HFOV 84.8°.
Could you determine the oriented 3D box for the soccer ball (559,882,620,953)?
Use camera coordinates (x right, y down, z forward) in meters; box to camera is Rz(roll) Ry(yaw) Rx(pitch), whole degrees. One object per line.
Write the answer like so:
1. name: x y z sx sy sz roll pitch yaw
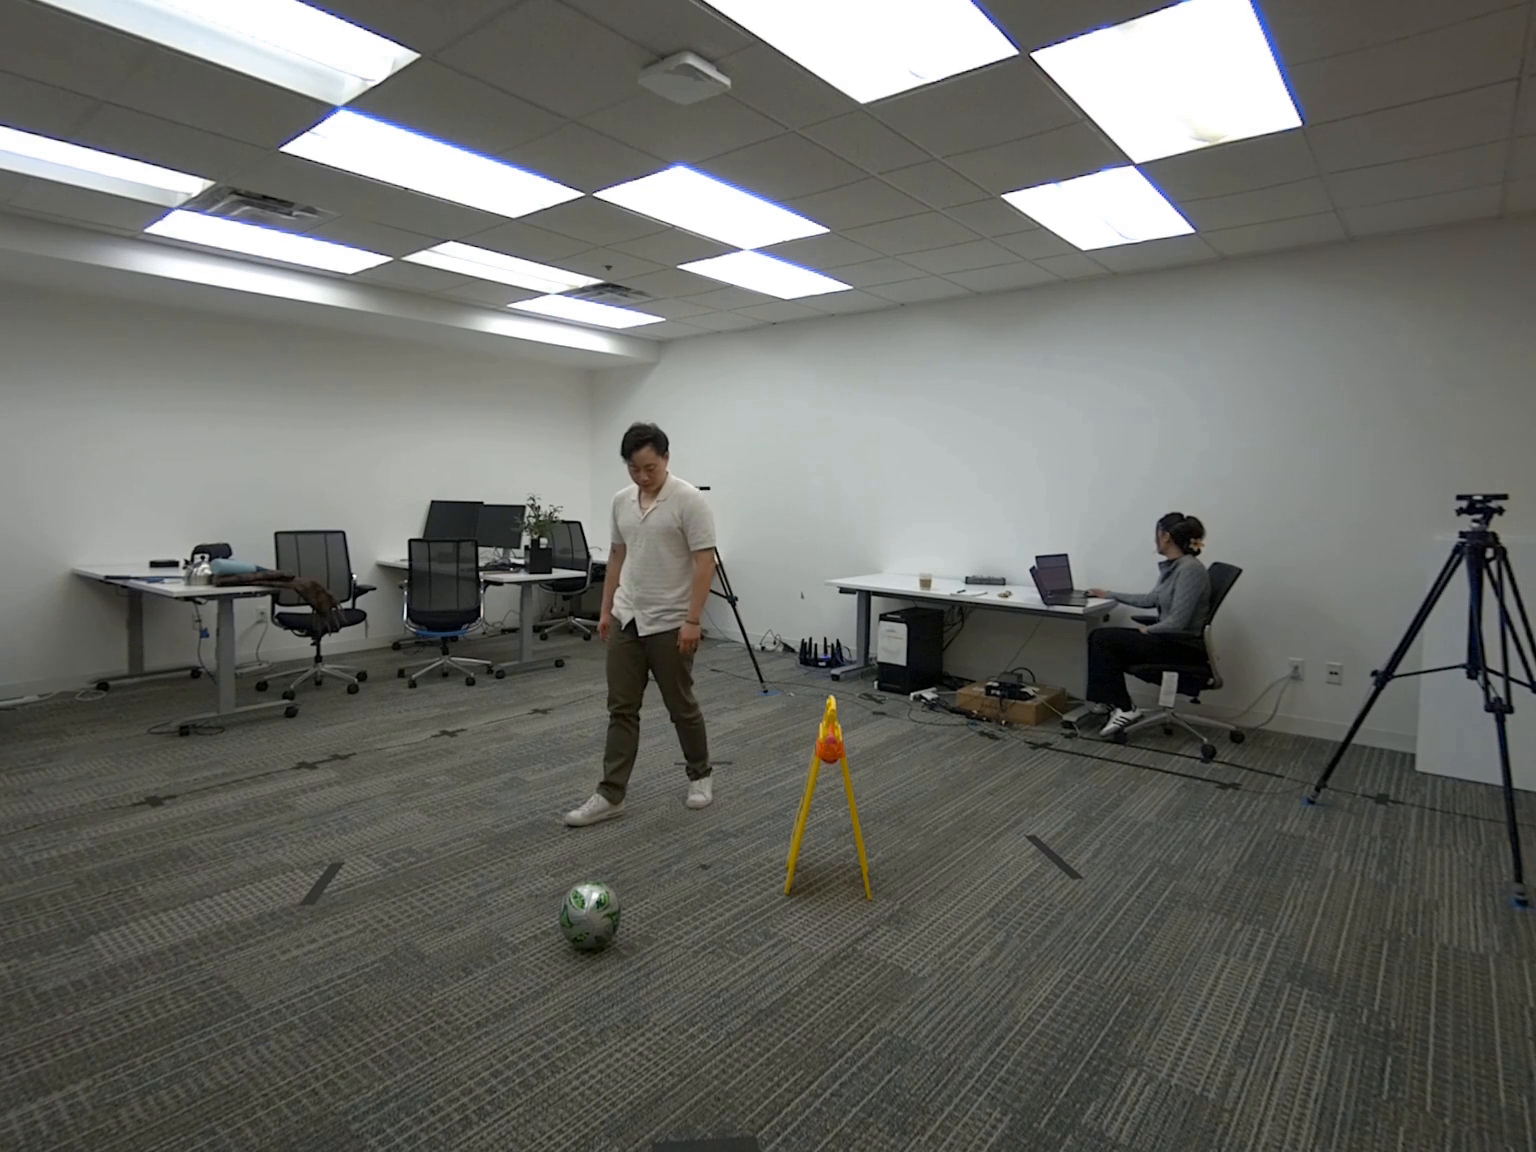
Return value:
1. soccer ball: -0.549 1.024 2.572 0.187 0.187 0.188 0 4 -2
